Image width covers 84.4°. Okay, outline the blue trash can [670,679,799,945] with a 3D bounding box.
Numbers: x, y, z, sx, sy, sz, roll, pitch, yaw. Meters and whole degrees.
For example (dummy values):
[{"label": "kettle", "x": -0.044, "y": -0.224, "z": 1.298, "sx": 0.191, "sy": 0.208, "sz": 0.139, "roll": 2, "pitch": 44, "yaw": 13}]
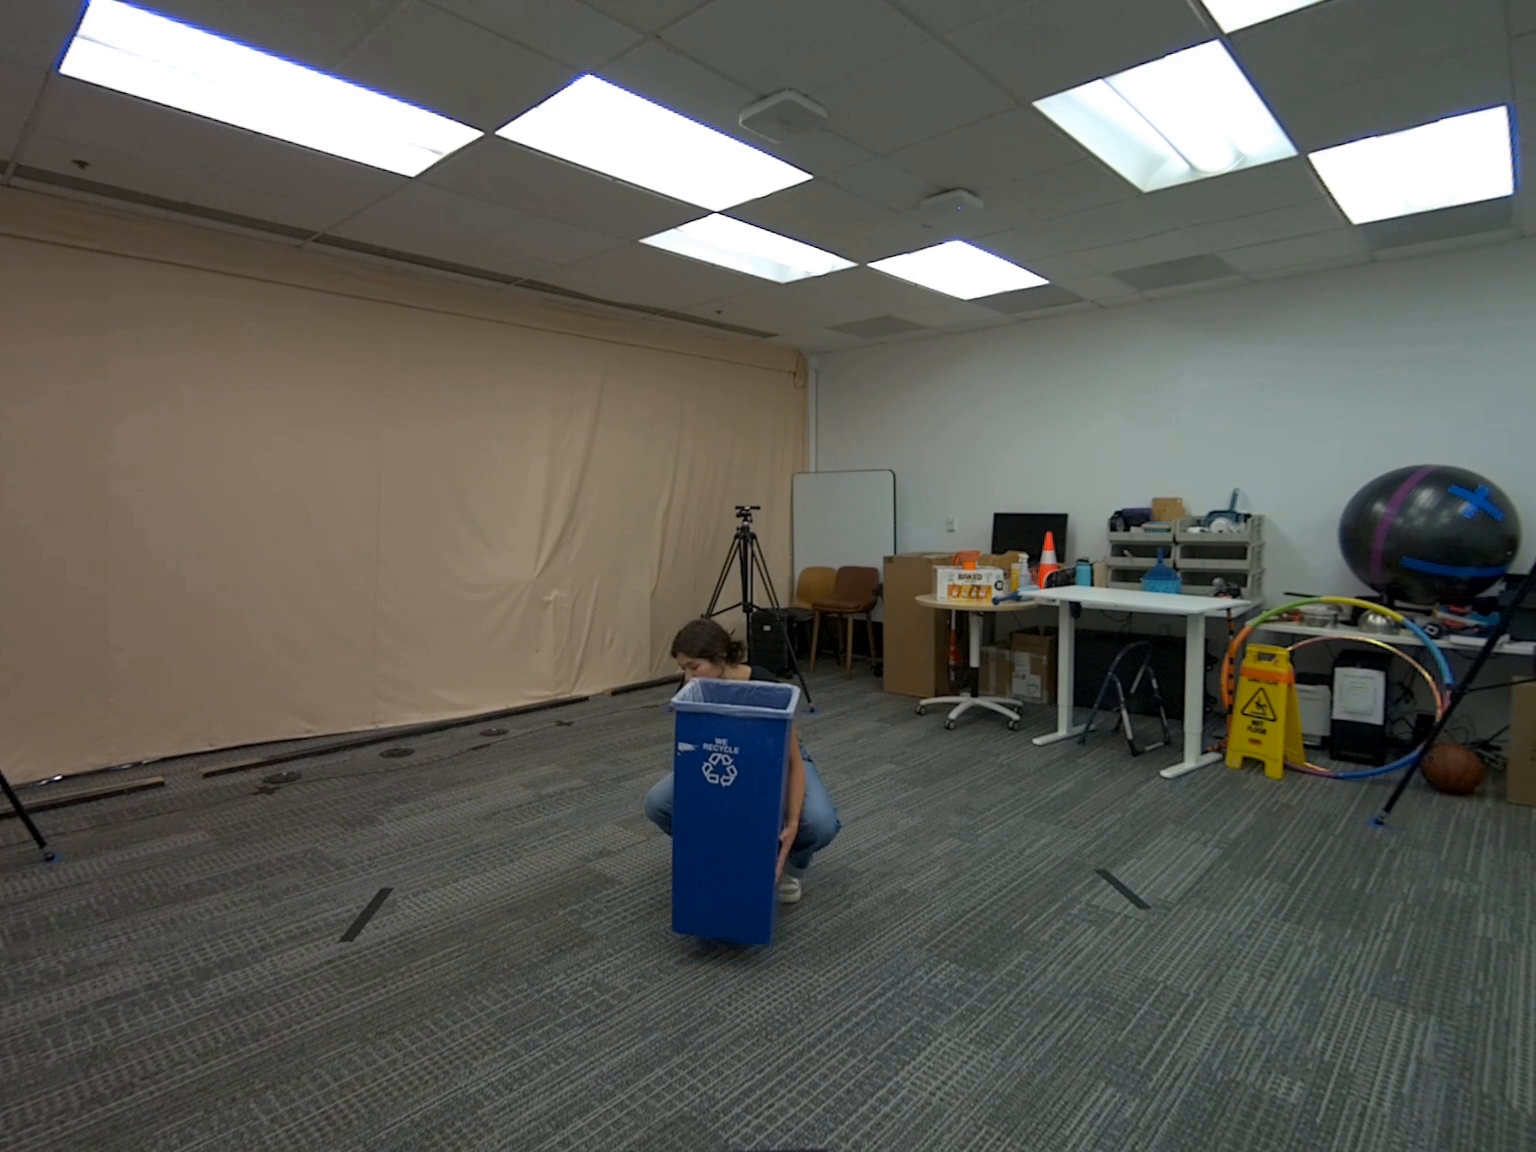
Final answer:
[{"label": "blue trash can", "x": -0.100, "y": 0.711, "z": 2.654, "sx": 0.377, "sy": 0.712, "sz": 0.375, "roll": 2, "pitch": 3, "yaw": 7}]
